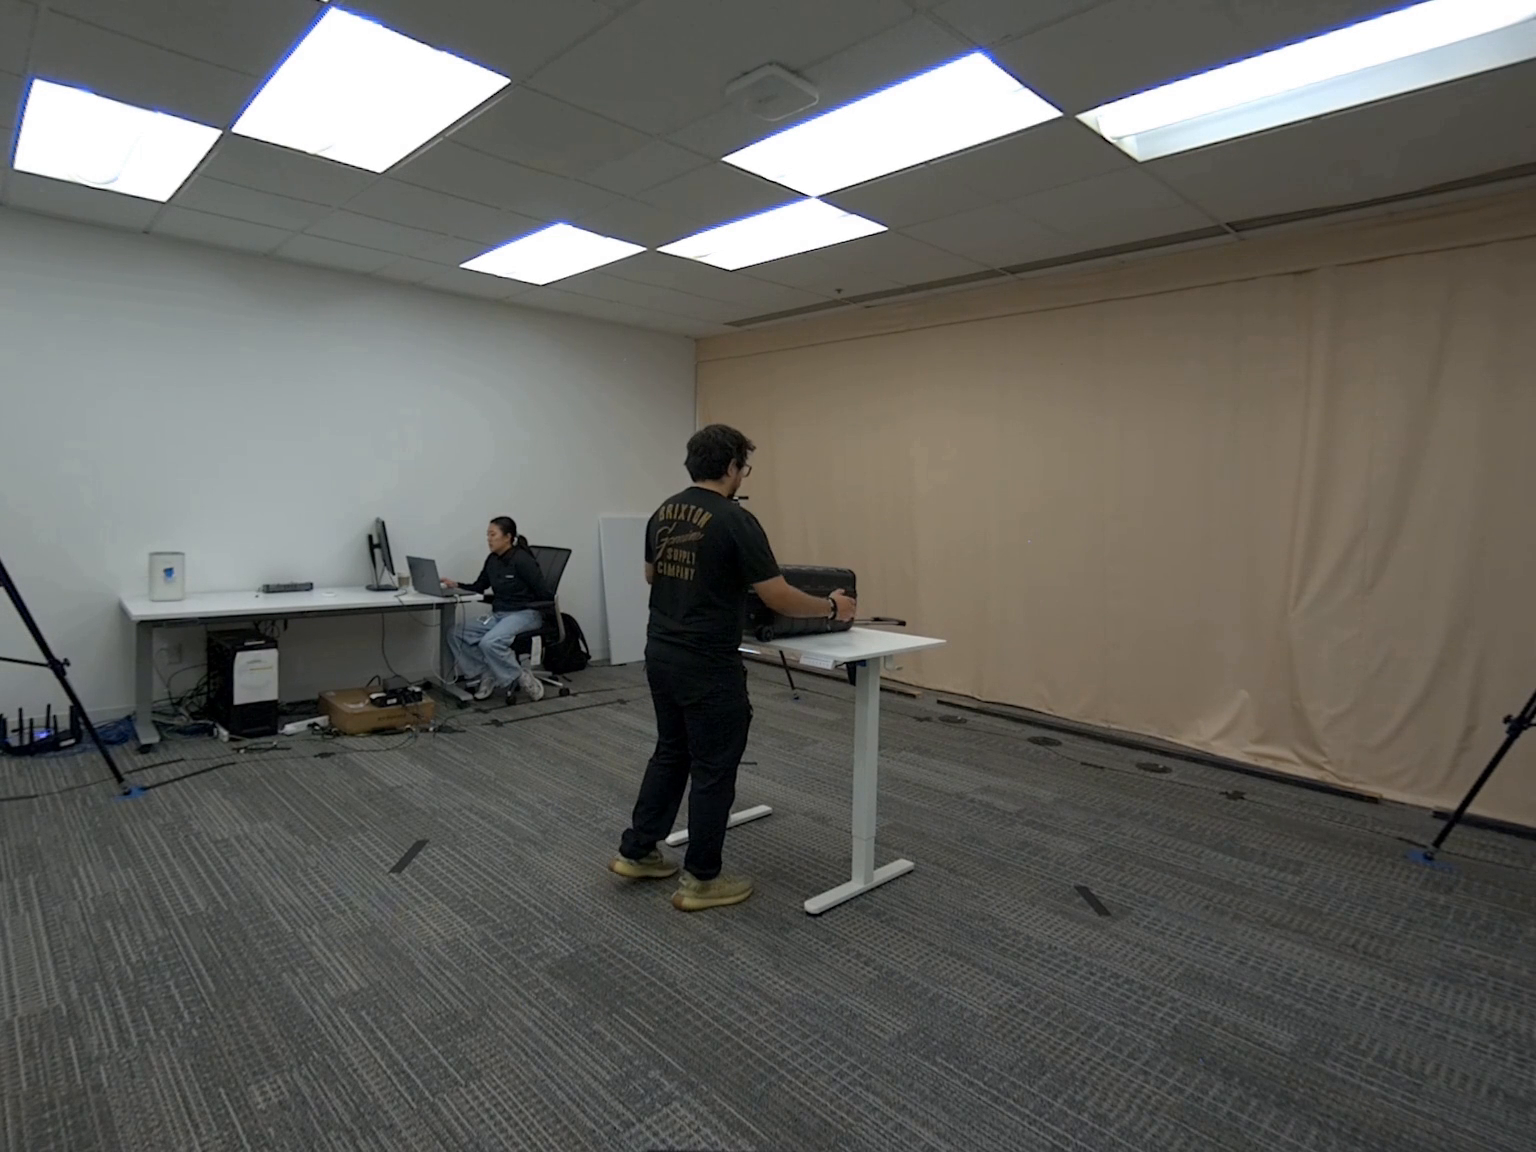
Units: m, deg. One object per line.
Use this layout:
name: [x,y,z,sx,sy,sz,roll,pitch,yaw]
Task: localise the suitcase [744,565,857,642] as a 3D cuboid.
suitcase: [0.209,0.086,3.380,0.955,0.257,0.393,-1,3,-44]
